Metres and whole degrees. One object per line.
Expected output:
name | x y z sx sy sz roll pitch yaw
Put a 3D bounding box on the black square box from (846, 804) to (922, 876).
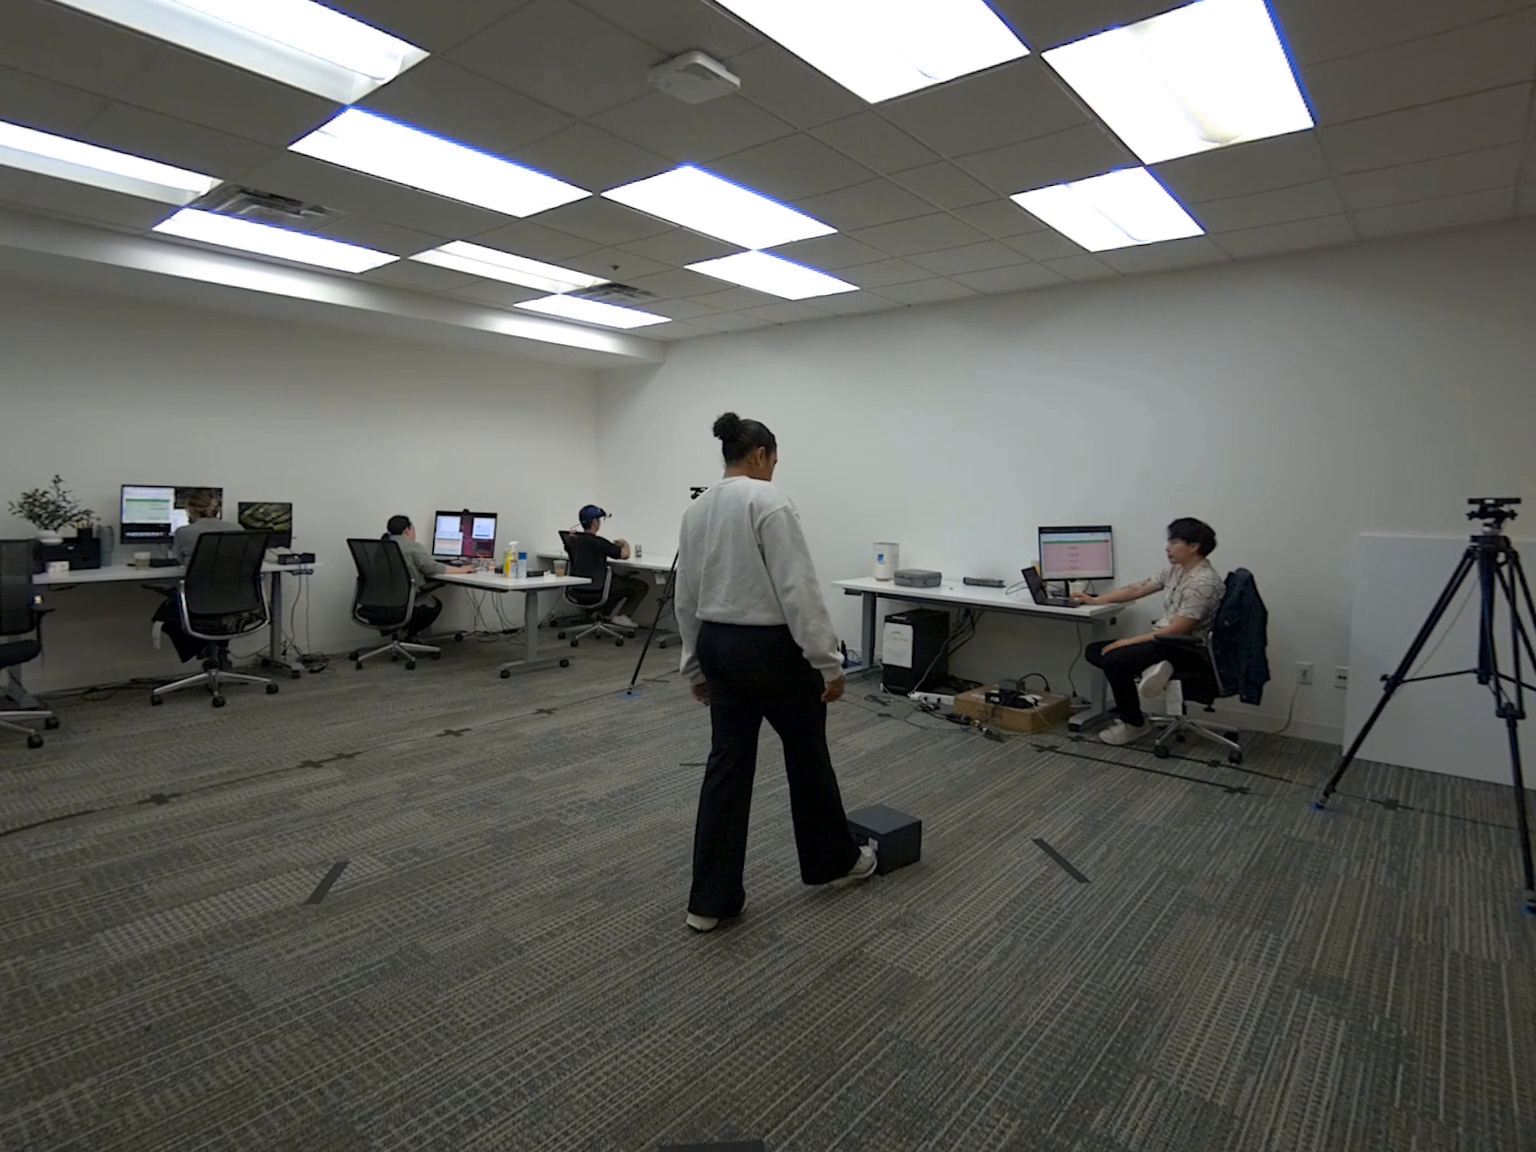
black square box | 0.415 0.986 3.215 0.221 0.155 0.224 -3 6 -41
